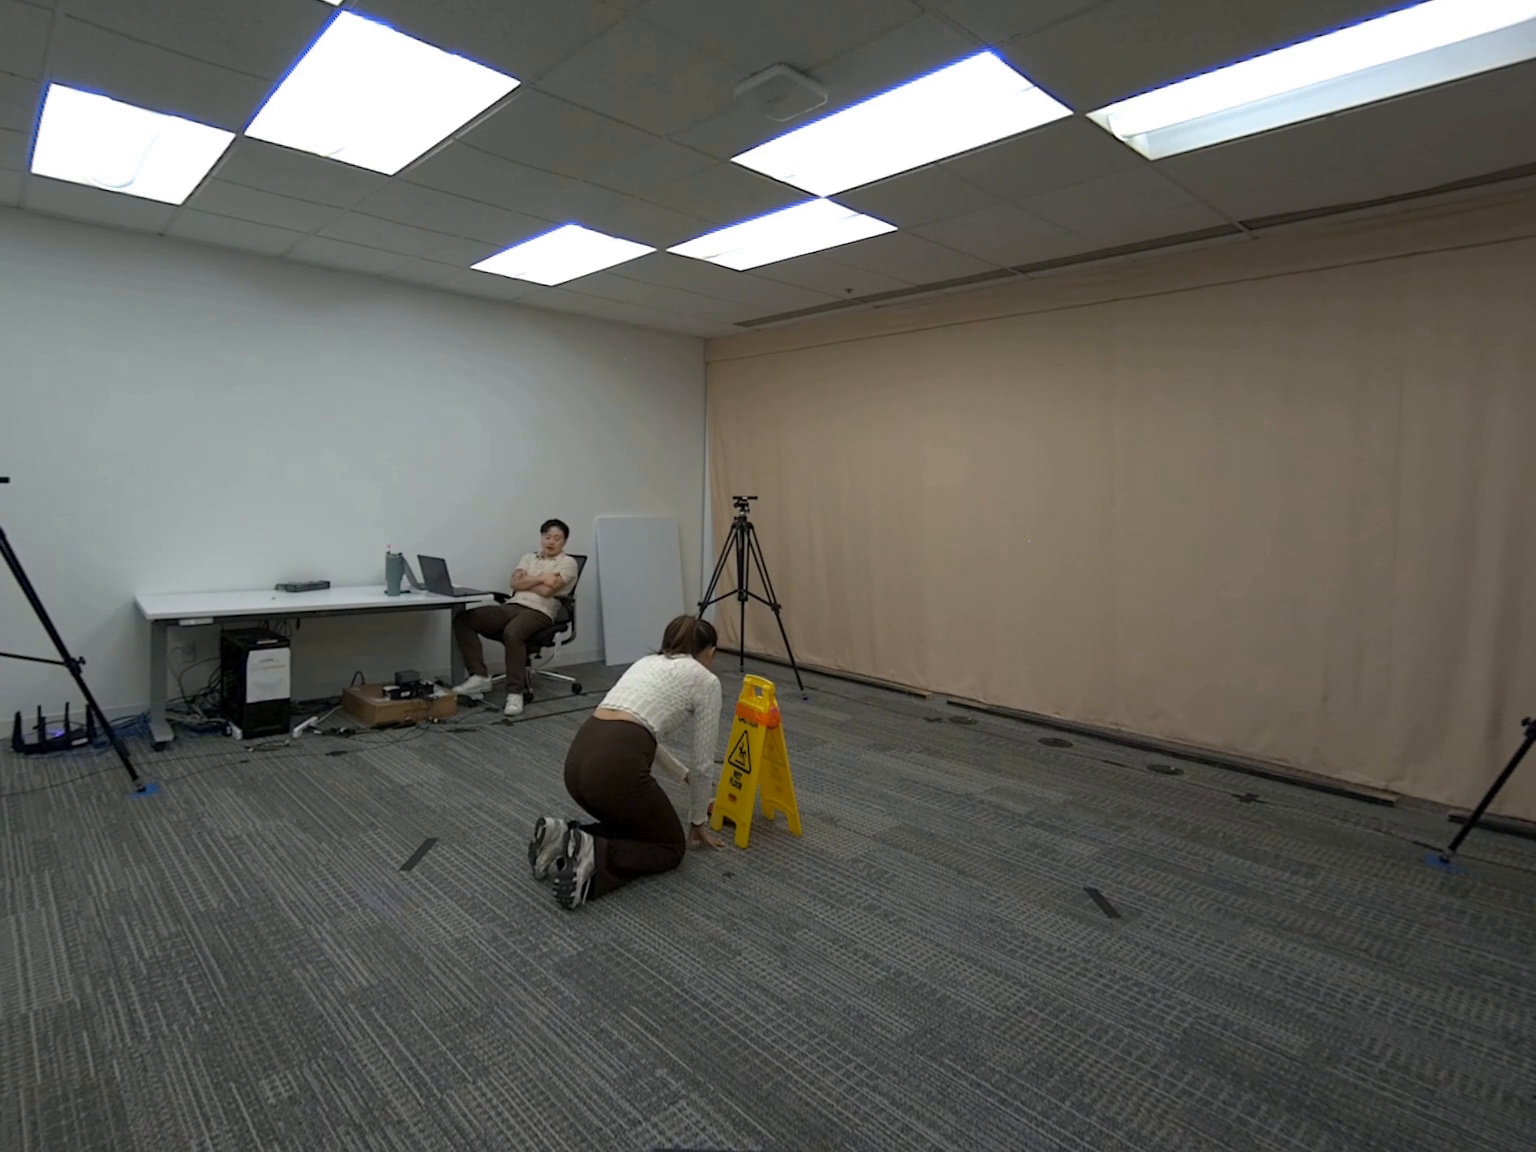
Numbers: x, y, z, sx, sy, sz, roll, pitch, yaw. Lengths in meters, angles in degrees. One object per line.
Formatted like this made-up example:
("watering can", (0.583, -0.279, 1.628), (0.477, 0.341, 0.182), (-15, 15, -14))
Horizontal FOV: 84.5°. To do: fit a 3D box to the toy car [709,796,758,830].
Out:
("toy car", (-0.181, 1.022, 3.668), (0.127, 0.083, 0.259), (-2, -4, -38))
